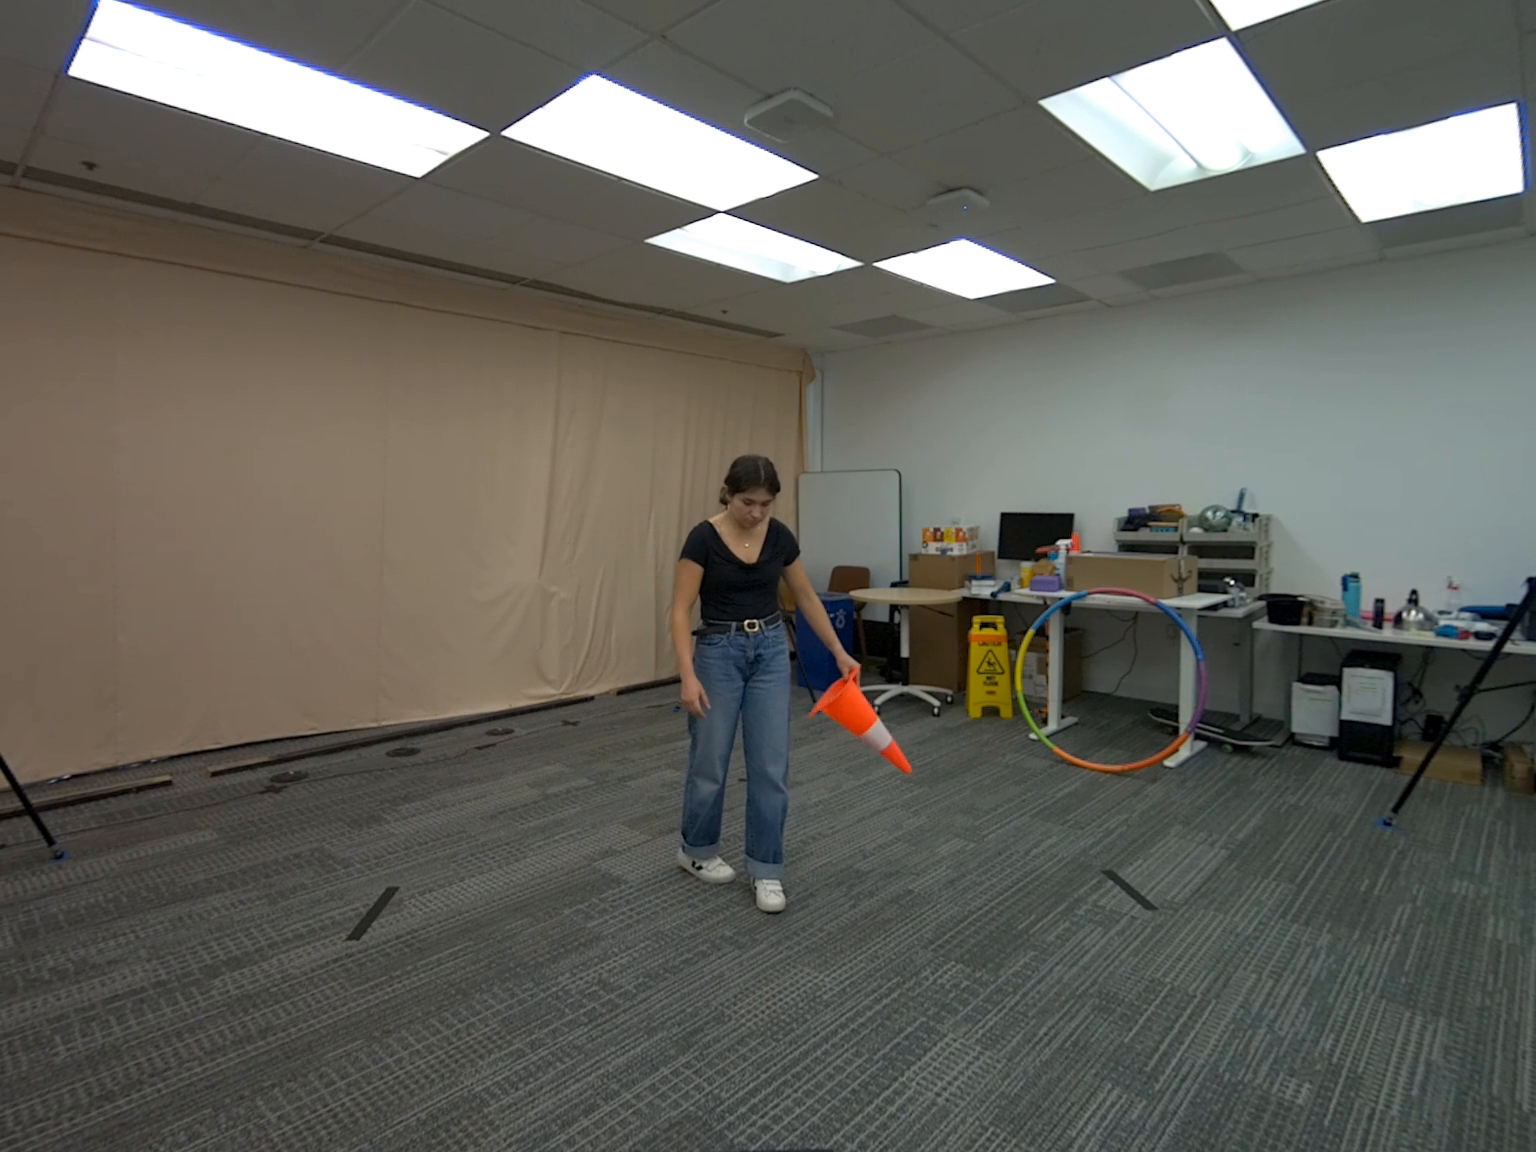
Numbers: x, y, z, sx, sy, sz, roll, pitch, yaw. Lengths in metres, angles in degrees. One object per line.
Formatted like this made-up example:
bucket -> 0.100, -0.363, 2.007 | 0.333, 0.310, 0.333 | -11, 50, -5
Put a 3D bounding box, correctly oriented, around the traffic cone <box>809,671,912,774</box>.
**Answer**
traffic cone -> 0.352, 0.543, 2.950 | 0.204, 0.386, 0.203 | -44, -4, -11
